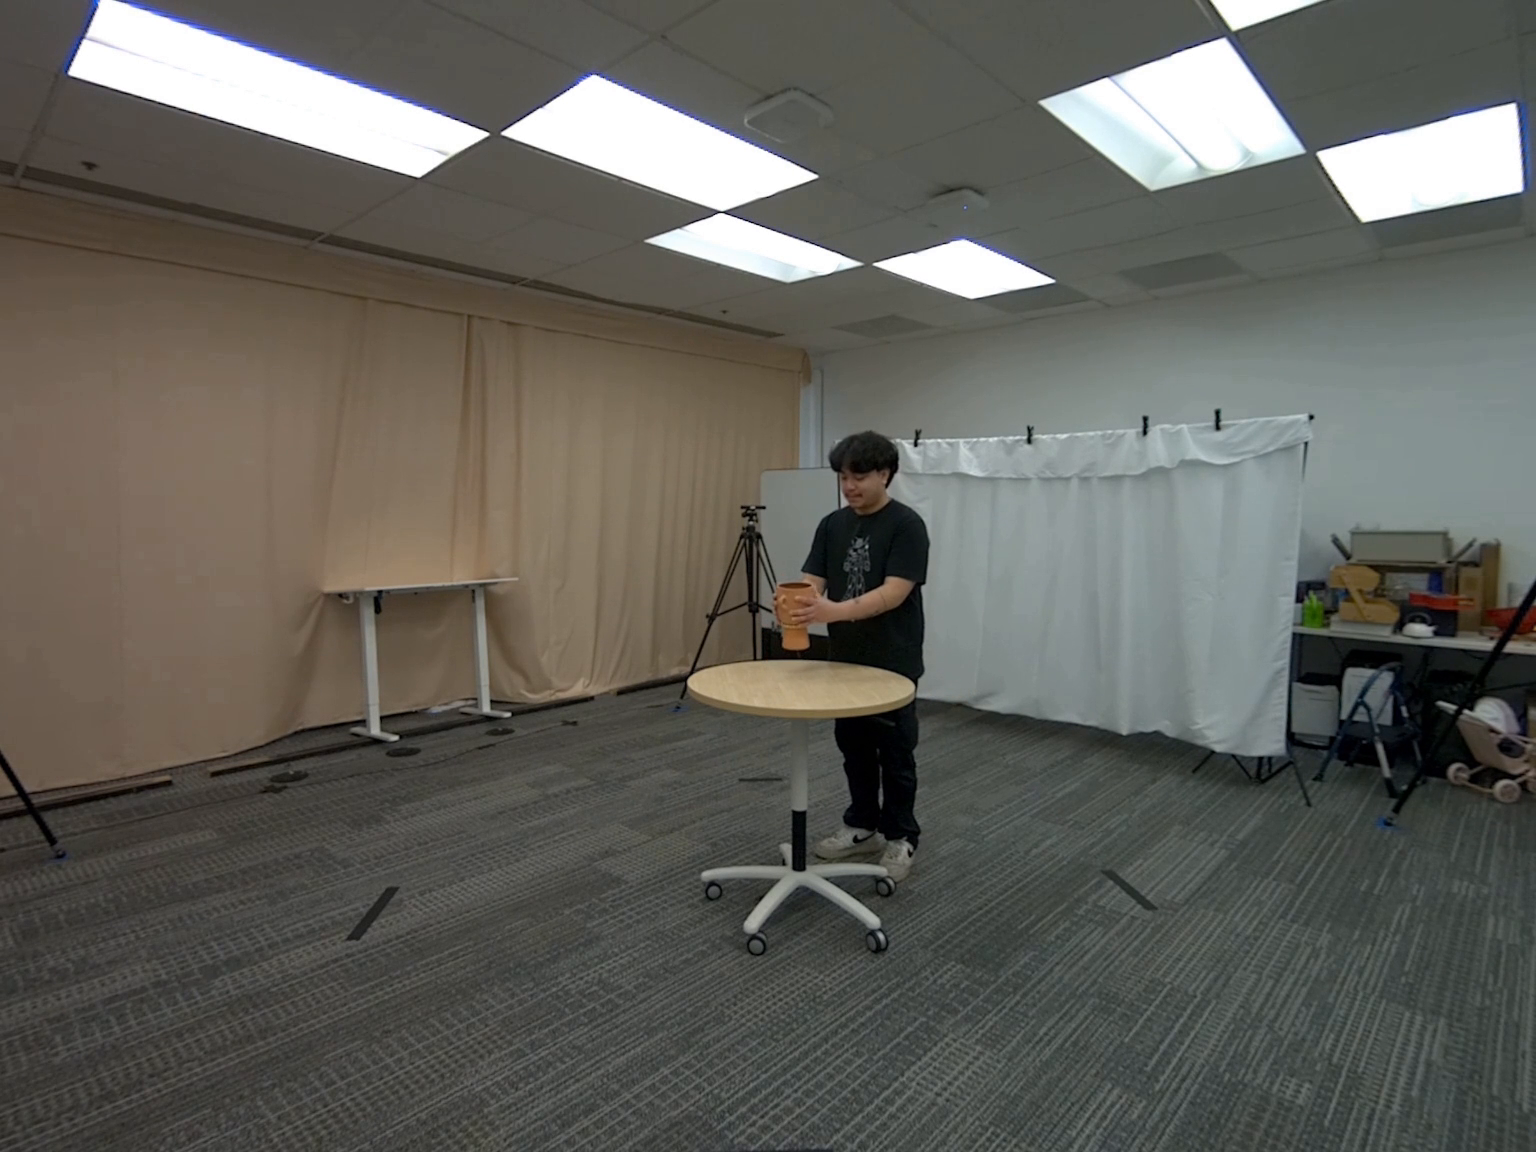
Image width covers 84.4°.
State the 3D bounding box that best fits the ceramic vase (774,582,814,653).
[{"bbox_3d":[0.098,0.144,2.977,0.157,0.218,0.137,-1,9,-13],"label":"ceramic vase"}]
